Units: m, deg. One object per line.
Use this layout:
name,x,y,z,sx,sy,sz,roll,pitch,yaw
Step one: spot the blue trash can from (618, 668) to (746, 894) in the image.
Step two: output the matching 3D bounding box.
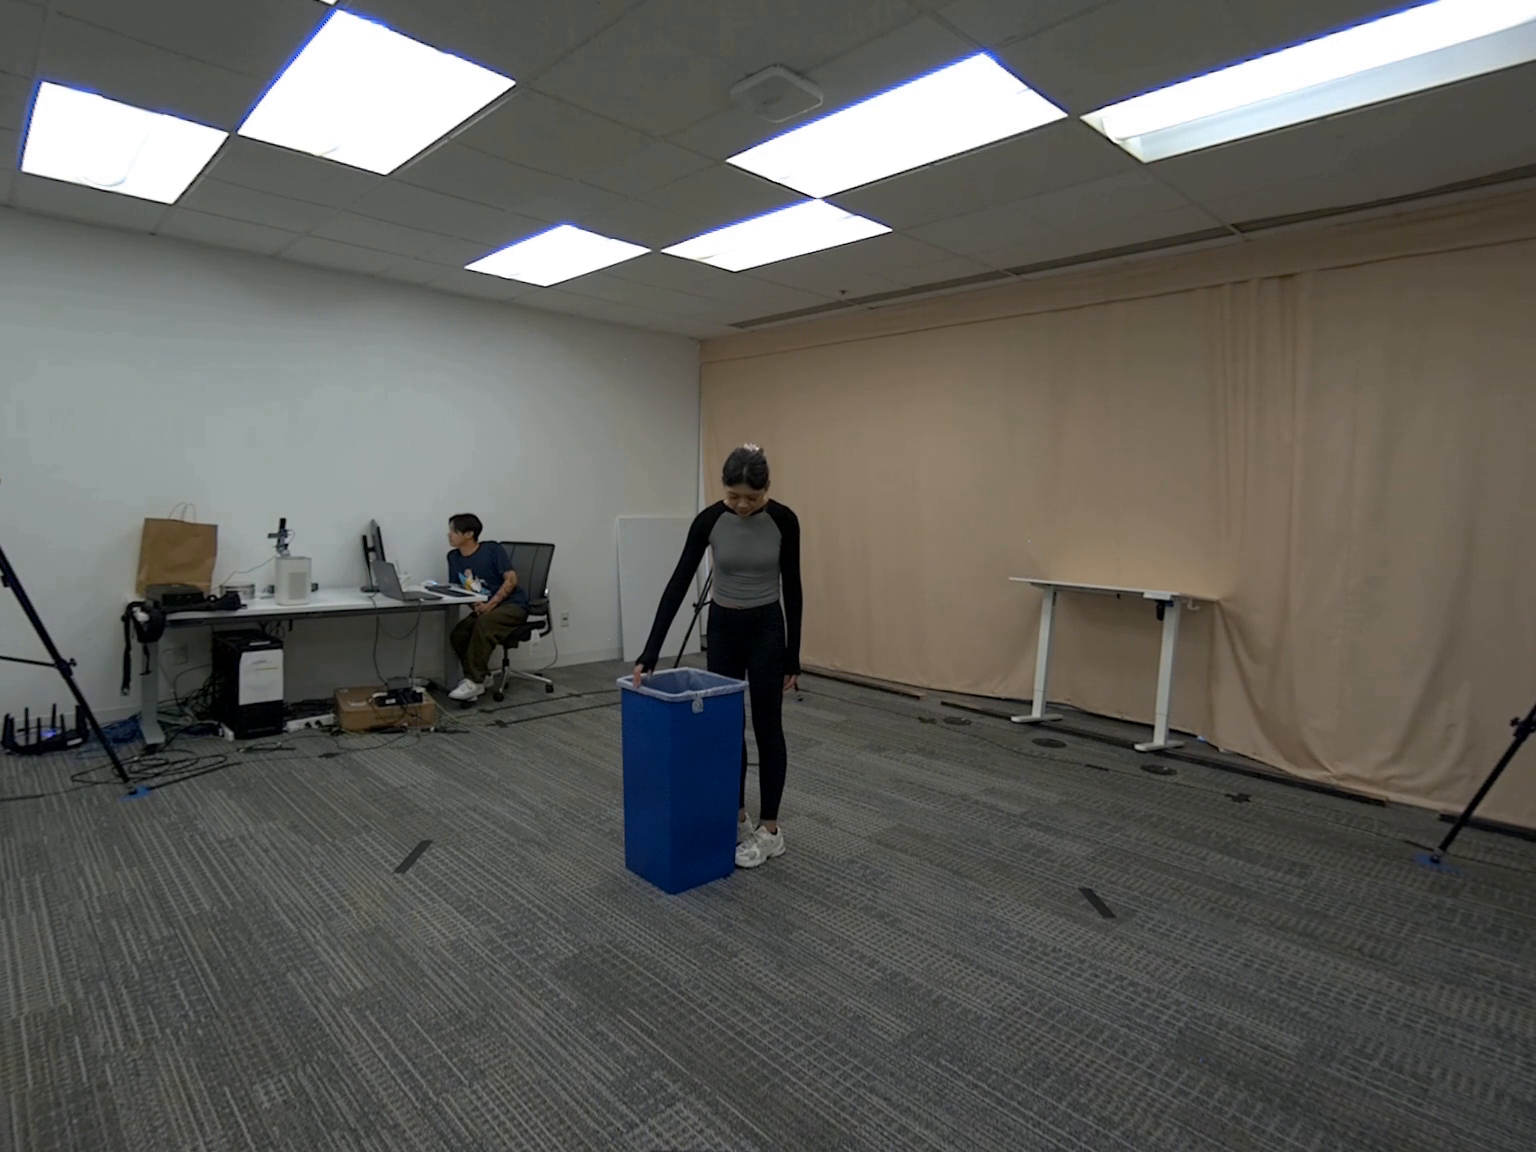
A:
blue trash can,-0.338,0.743,3.134,0.369,0.712,0.384,-2,5,-43
